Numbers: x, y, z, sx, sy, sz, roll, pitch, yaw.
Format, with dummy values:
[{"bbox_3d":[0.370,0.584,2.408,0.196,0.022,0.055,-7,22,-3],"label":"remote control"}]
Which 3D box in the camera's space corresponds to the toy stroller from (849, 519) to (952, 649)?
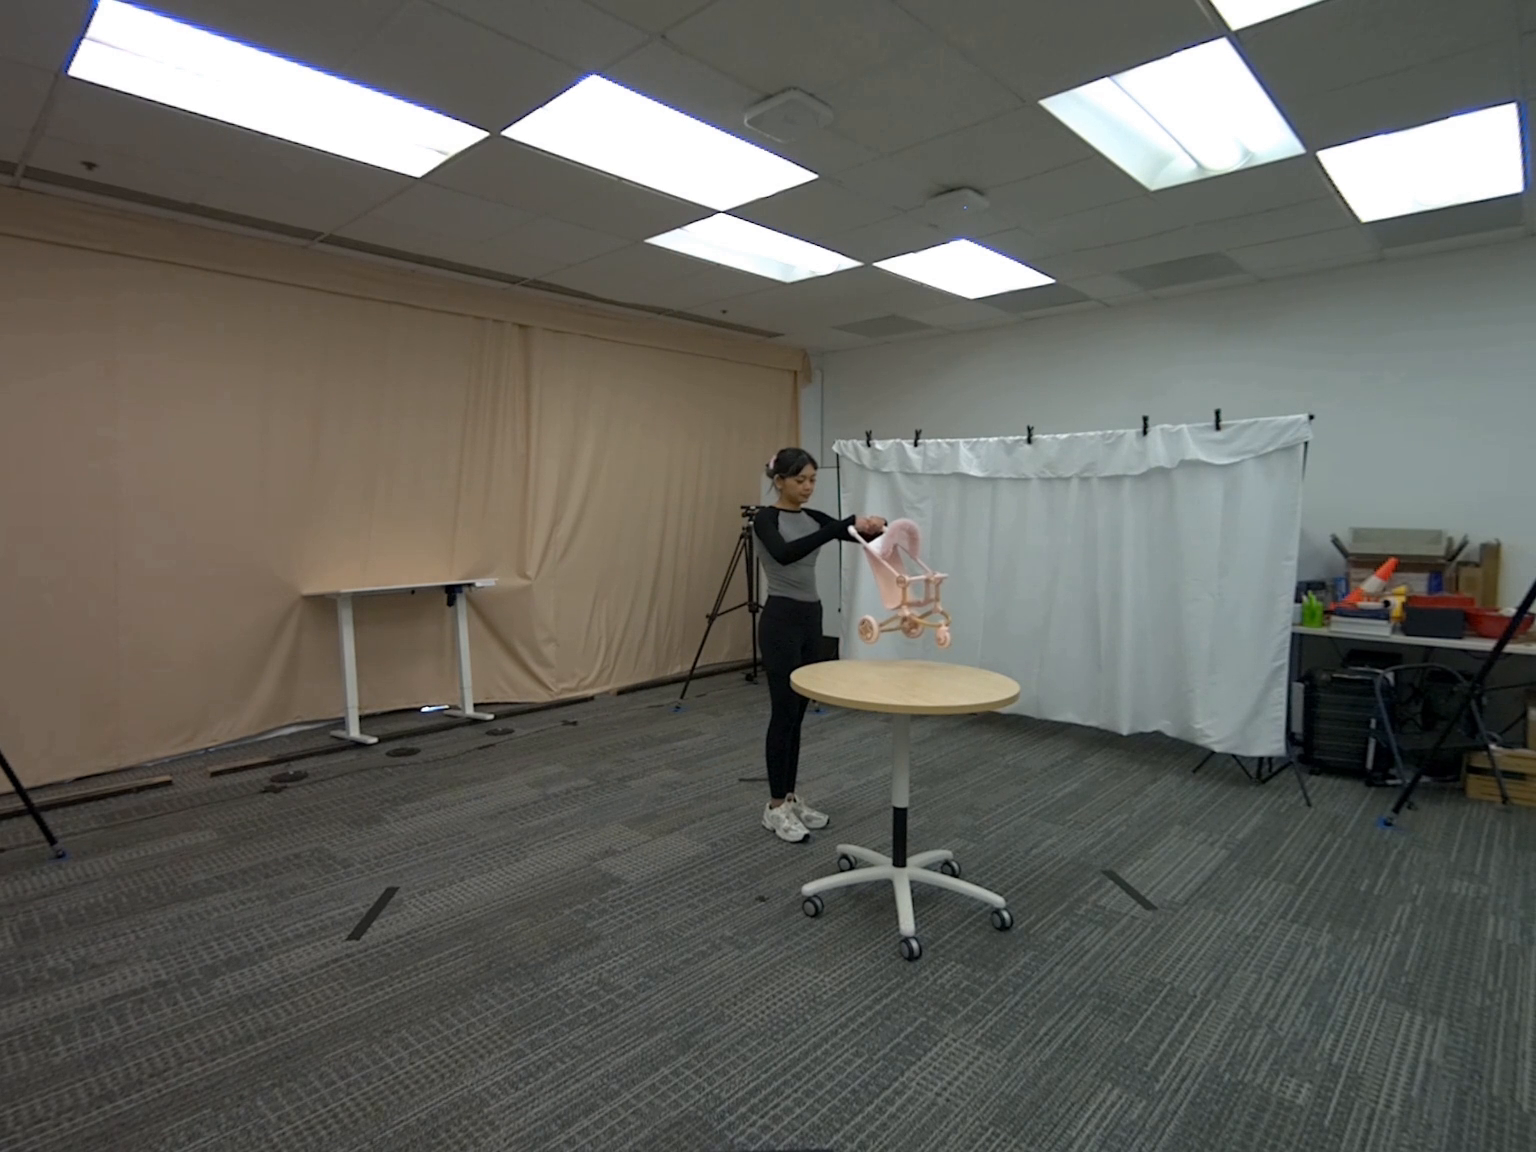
[{"bbox_3d":[0.519,0.032,3.173,0.273,0.538,0.349,-3,-8,-34],"label":"toy stroller"}]
